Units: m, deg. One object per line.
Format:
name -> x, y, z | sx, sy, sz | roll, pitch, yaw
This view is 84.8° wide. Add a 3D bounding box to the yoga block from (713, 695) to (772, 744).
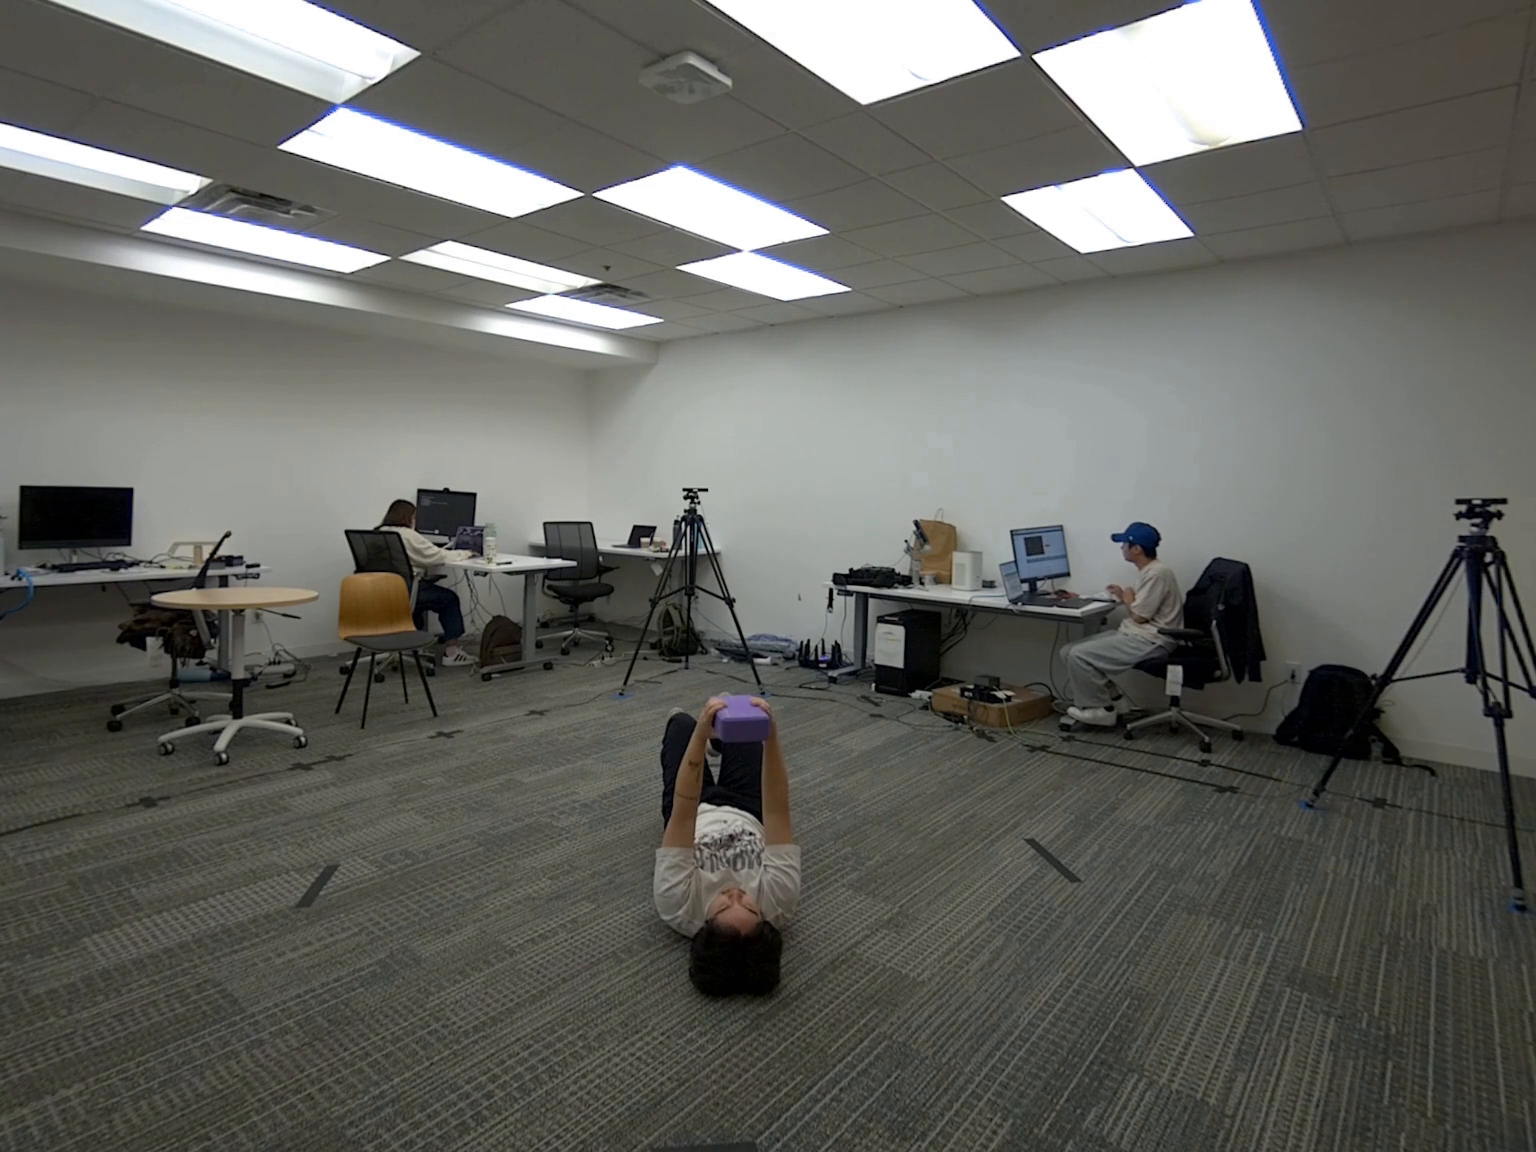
yoga block -> -0.110, 0.431, 2.592 | 0.147, 0.076, 0.233 | 1, 6, -11
